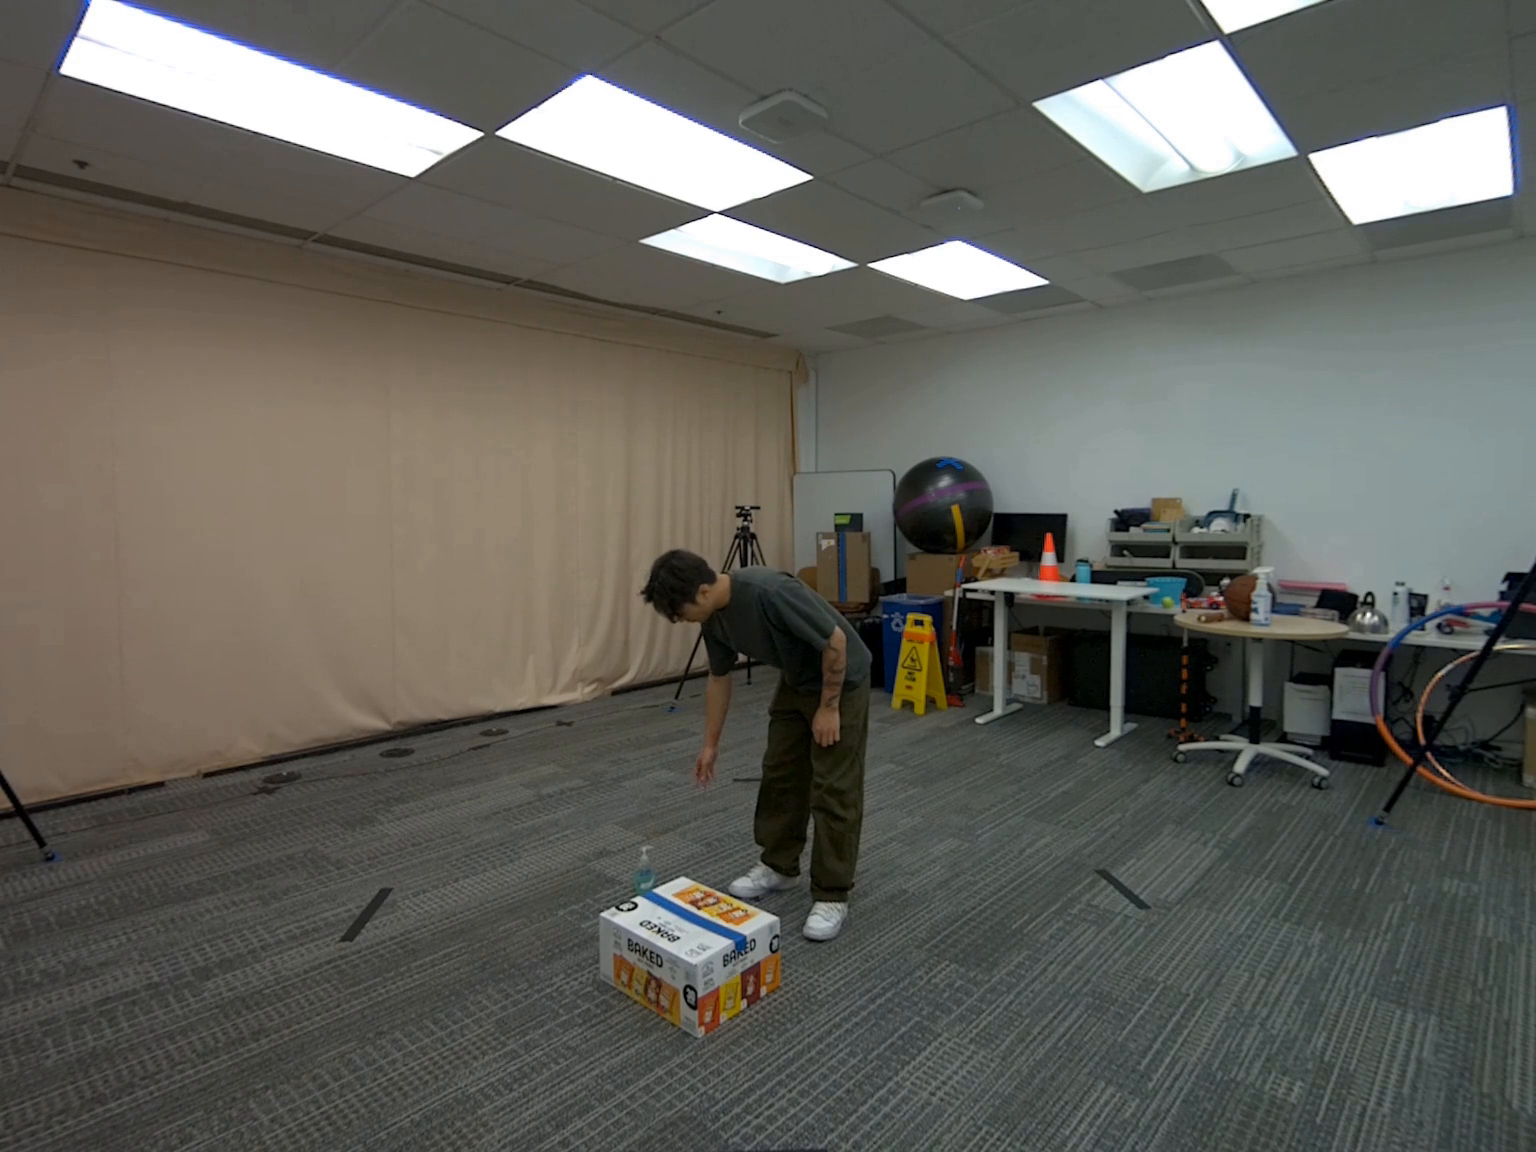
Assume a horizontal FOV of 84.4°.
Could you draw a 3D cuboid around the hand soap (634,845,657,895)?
[{"bbox_3d":[-0.442,1.068,3.038,0.083,0.168,0.044,-3,0,-22],"label":"hand soap"}]
